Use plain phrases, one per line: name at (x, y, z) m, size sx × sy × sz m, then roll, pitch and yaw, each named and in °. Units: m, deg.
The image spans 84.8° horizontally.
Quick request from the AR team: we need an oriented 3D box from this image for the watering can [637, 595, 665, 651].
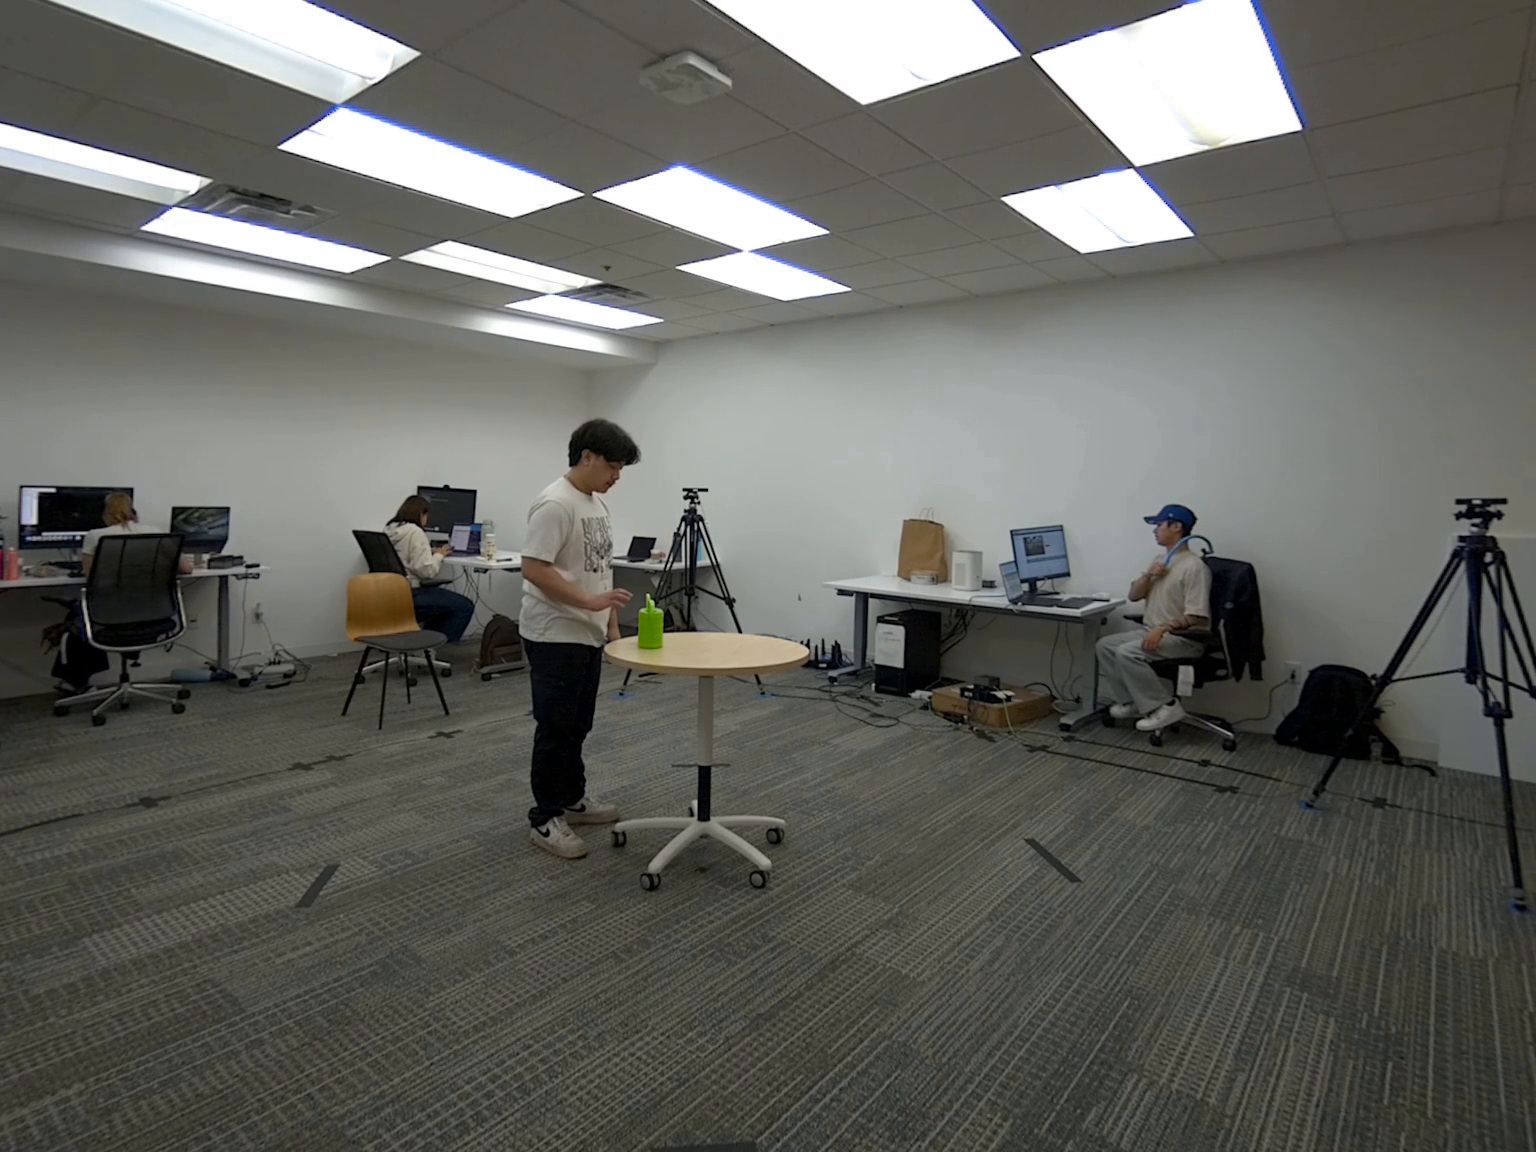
watering can at (-0.462, 0.173, 3.257) m, size 0.098 × 0.176 × 0.280 m, roll -1°, pitch 6°, yaw -2°
